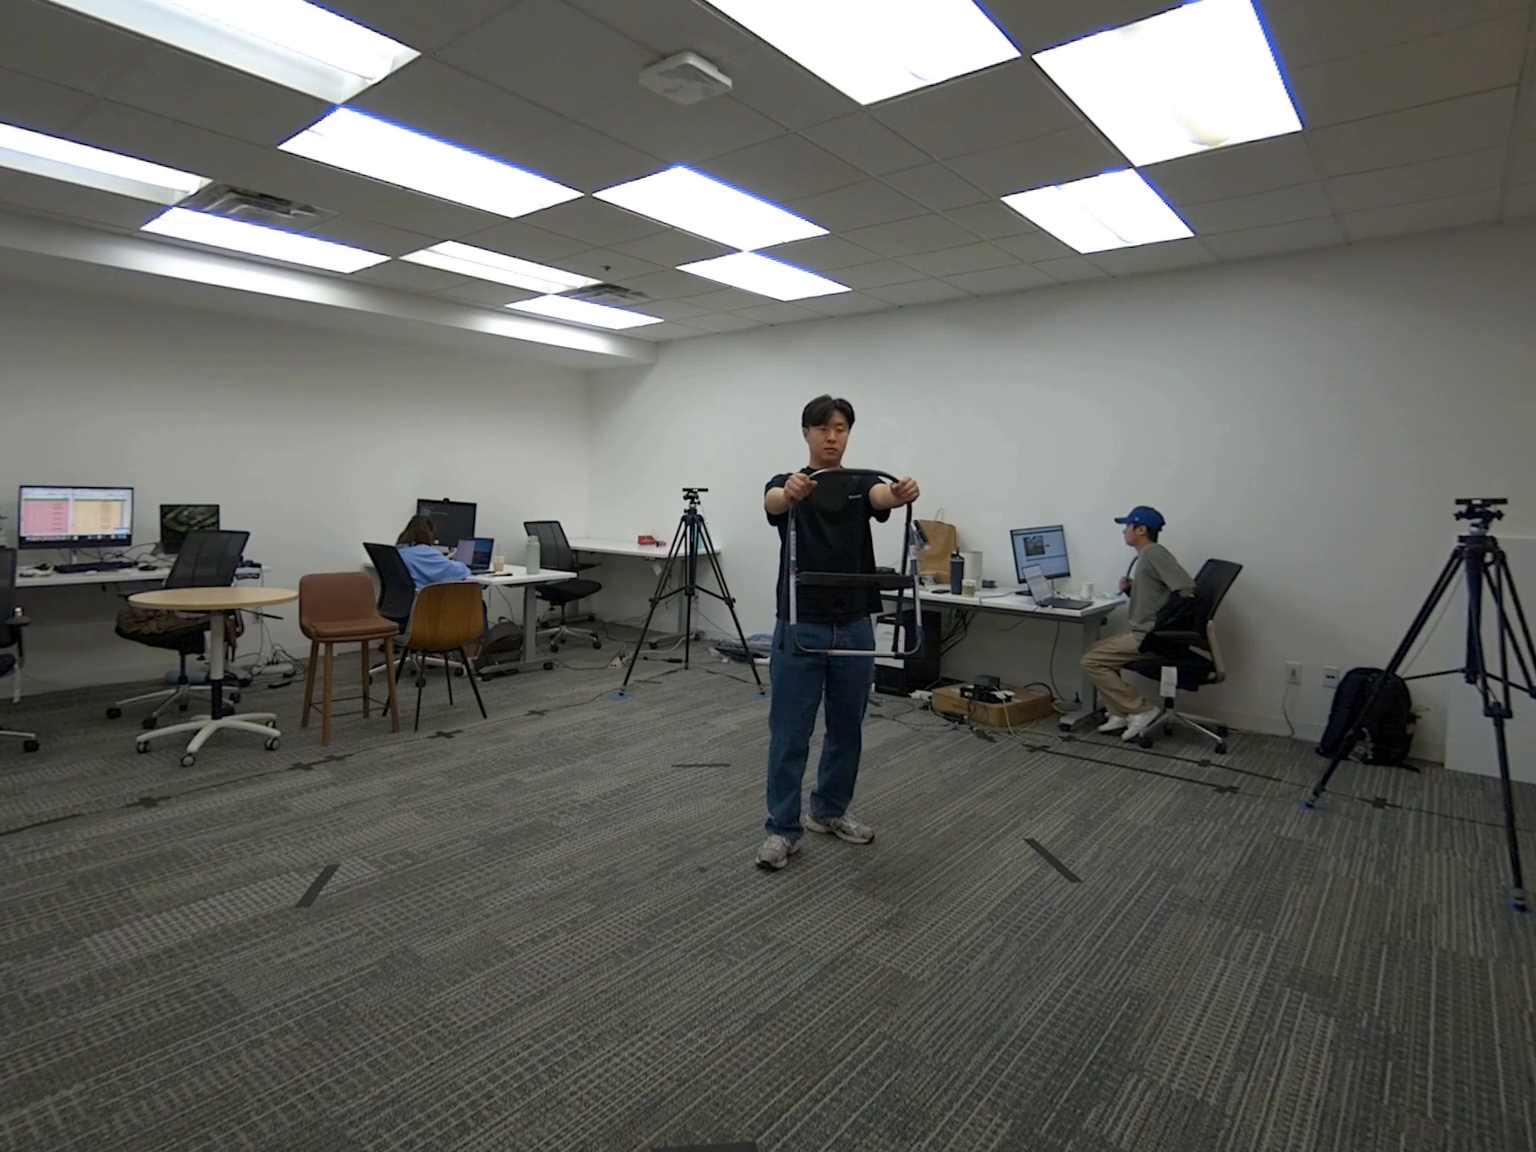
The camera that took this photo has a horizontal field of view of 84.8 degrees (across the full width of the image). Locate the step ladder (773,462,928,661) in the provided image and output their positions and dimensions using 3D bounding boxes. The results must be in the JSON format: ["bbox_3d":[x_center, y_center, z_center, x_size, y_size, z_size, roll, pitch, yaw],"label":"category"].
[{"bbox_3d":[0.261,-0.041,2.797,0.428,0.609,0.349,2,-5,-5],"label":"step ladder"}]
